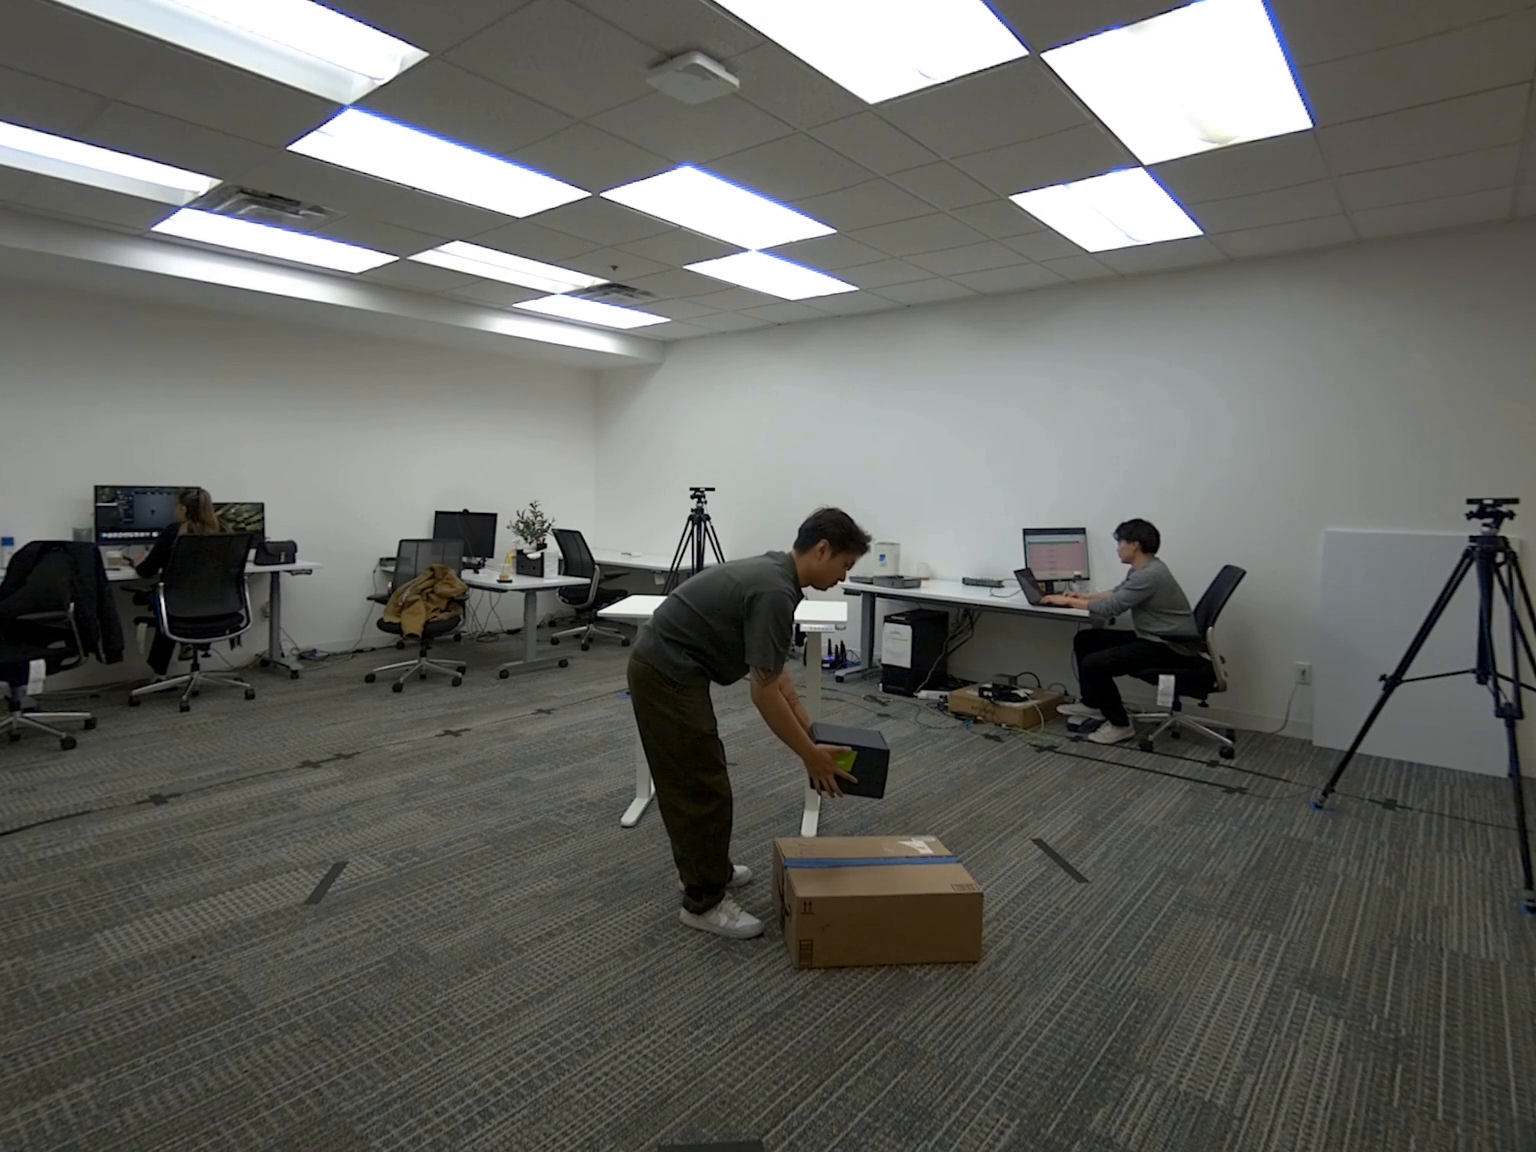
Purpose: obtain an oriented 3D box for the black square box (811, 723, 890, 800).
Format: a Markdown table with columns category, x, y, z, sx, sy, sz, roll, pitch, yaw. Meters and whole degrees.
| category | x | y | z | sx | sy | sz | roll | pitch | yaw |
| --- | --- | --- | --- | --- | --- | --- | --- | --- | --- |
| black square box | 0.245 | 0.578 | 2.690 | 0.228 | 0.155 | 0.217 | 7 | 5 | 1 |
